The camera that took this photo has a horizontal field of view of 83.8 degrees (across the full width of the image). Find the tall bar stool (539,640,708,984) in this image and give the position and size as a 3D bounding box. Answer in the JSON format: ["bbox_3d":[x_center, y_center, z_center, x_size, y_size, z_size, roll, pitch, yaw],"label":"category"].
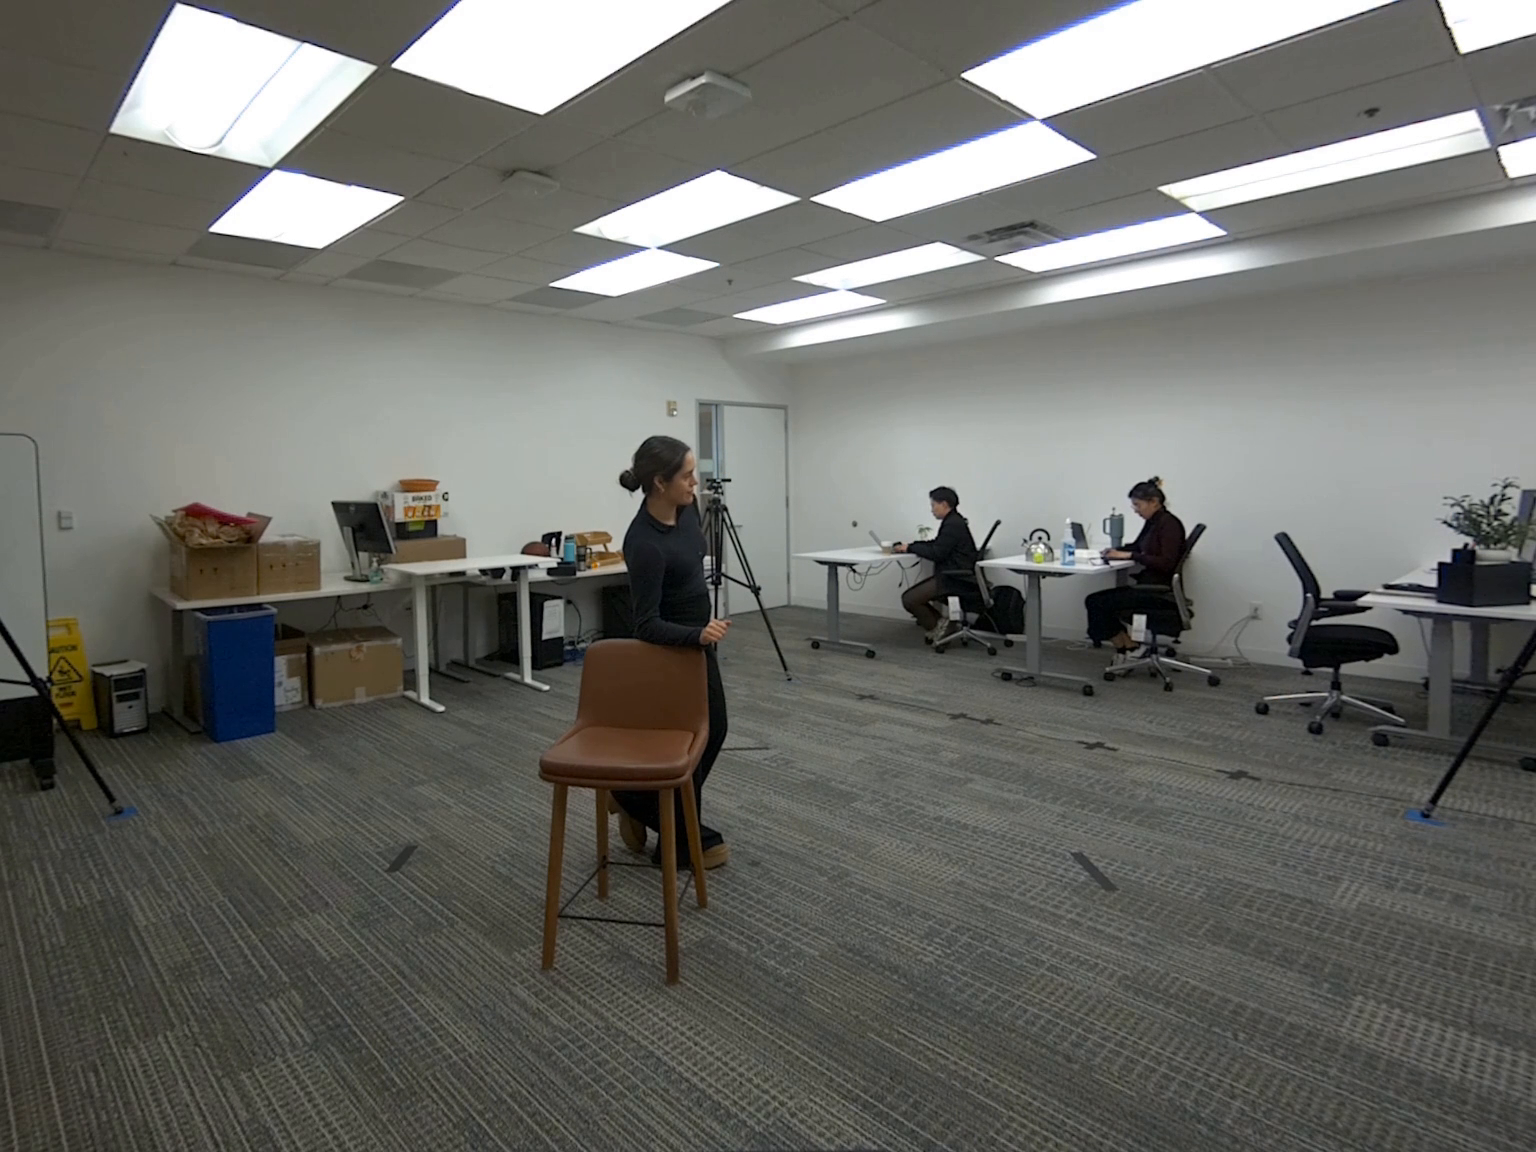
[{"bbox_3d":[-0.425,0.676,2.607,0.462,0.888,0.463,0,2,11],"label":"tall bar stool"}]
